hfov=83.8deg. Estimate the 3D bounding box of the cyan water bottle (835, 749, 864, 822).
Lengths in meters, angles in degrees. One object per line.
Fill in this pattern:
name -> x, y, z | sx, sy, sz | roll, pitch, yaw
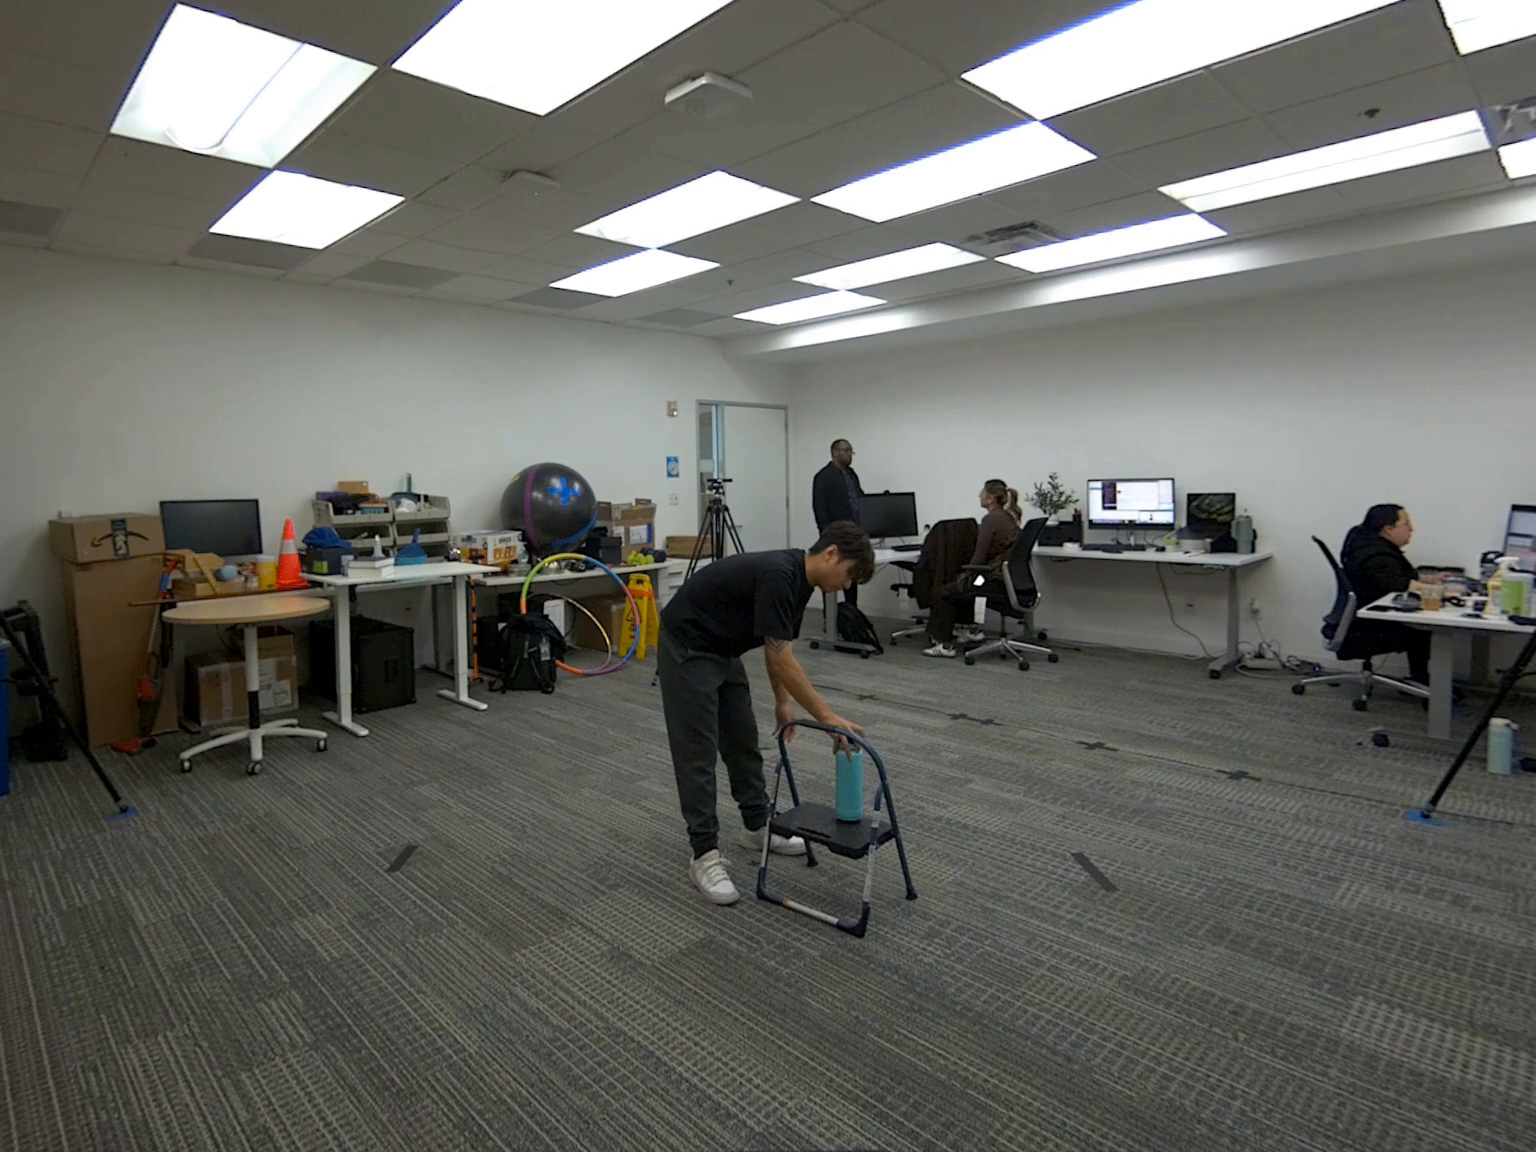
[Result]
cyan water bottle -> 0.274, 0.657, 2.828 | 0.092, 0.283, 0.092 | 1, 3, -2
